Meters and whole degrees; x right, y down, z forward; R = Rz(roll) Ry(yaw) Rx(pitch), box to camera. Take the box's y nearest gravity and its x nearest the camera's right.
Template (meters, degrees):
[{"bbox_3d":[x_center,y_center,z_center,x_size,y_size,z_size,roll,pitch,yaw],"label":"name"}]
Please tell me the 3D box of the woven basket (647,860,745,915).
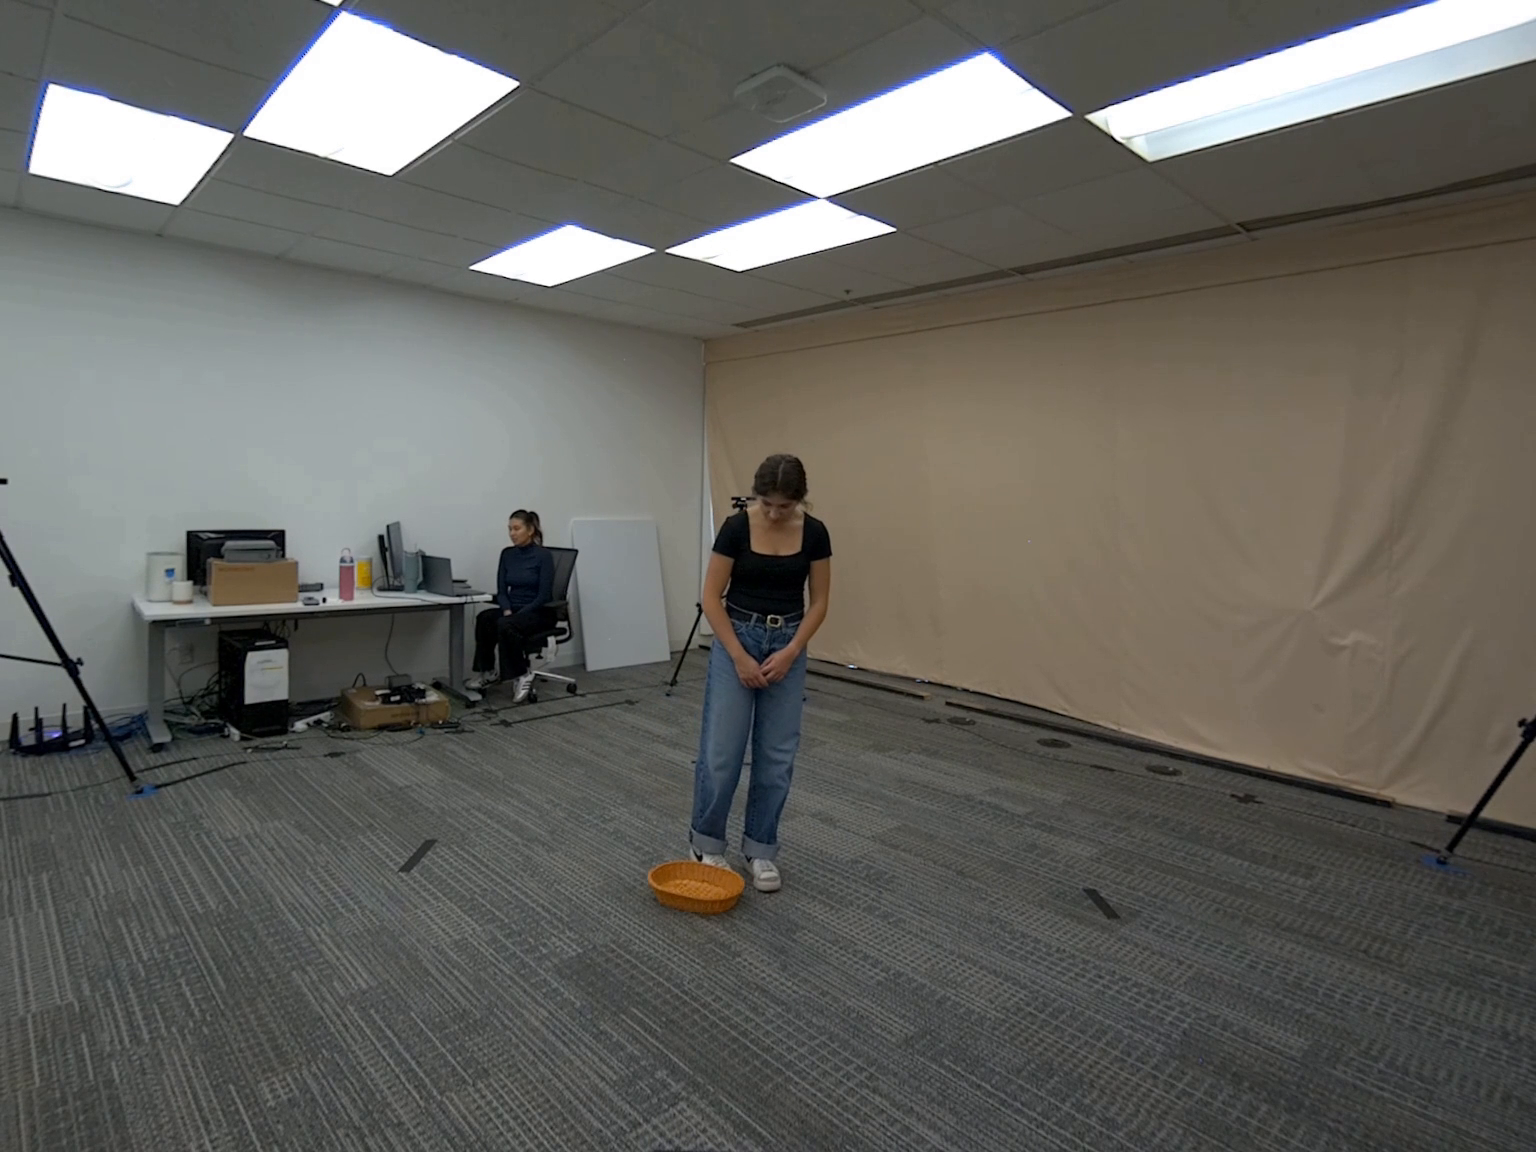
[{"bbox_3d":[-0.258,1.082,2.913,0.357,0.073,0.248,3,6,25],"label":"woven basket"}]
